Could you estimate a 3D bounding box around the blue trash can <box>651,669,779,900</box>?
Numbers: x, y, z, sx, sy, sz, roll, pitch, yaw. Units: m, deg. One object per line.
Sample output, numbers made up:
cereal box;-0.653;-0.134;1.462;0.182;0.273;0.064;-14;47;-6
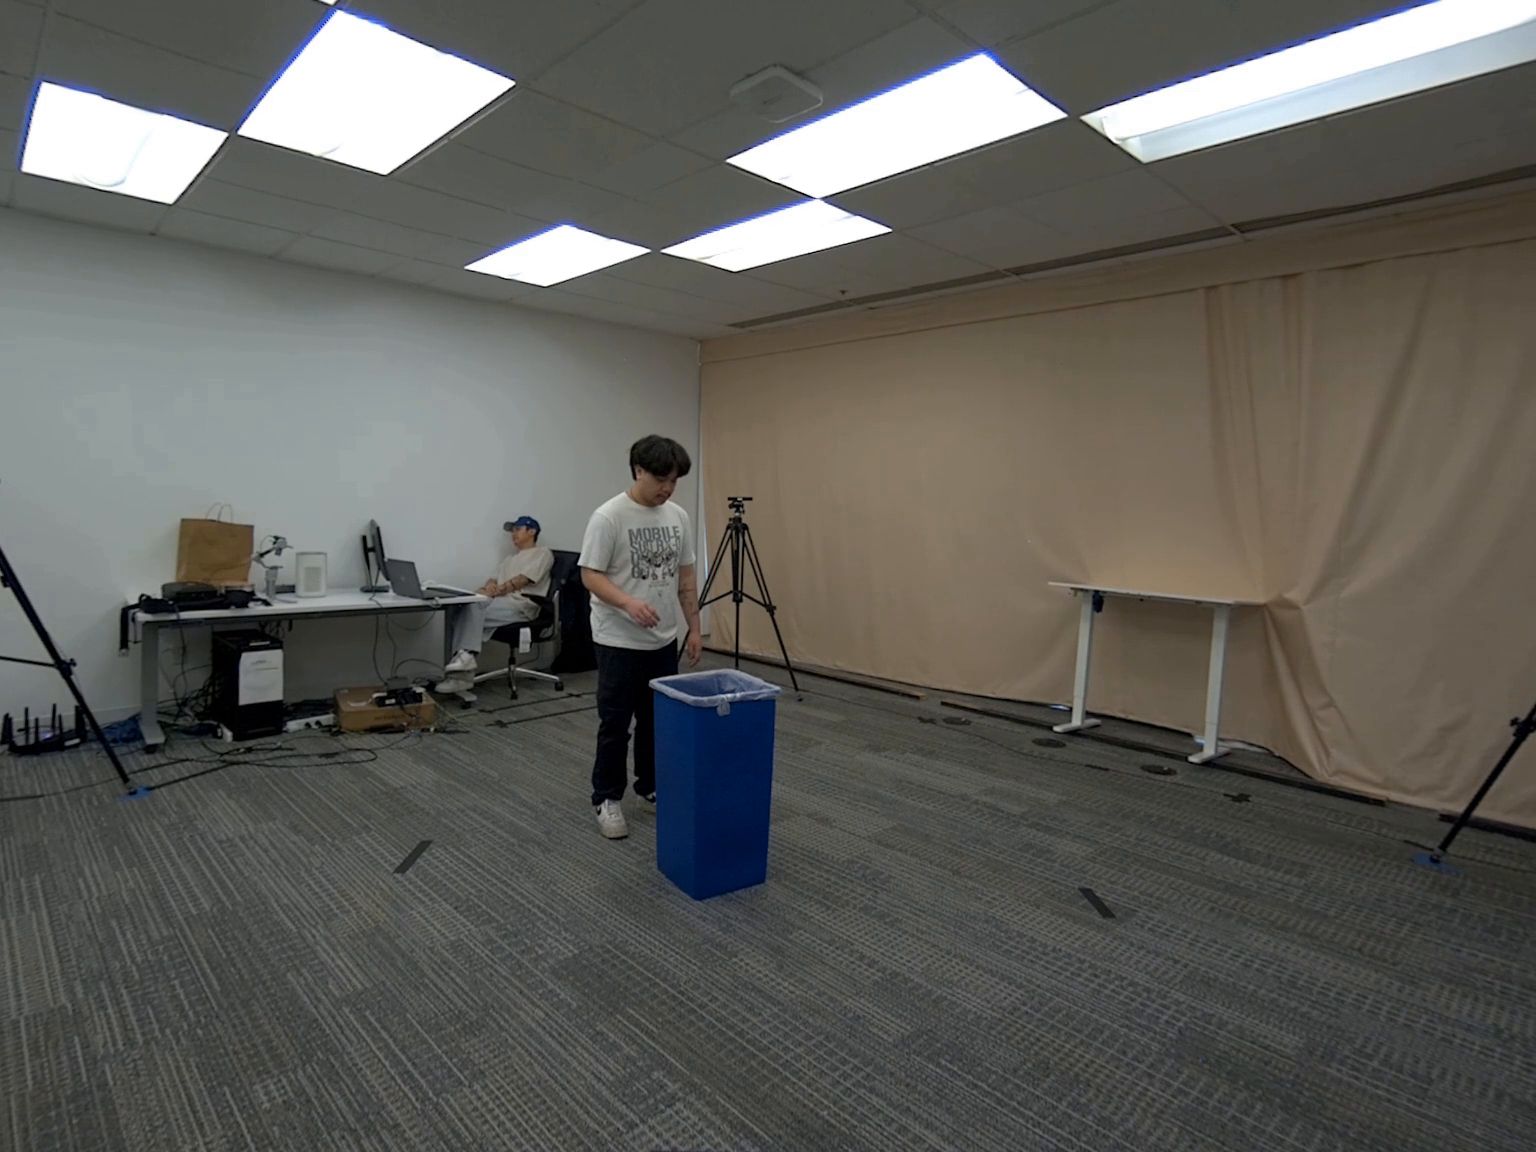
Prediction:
blue trash can;-0.216;0.749;3.095;0.370;0.712;0.383;-1;4;-34
